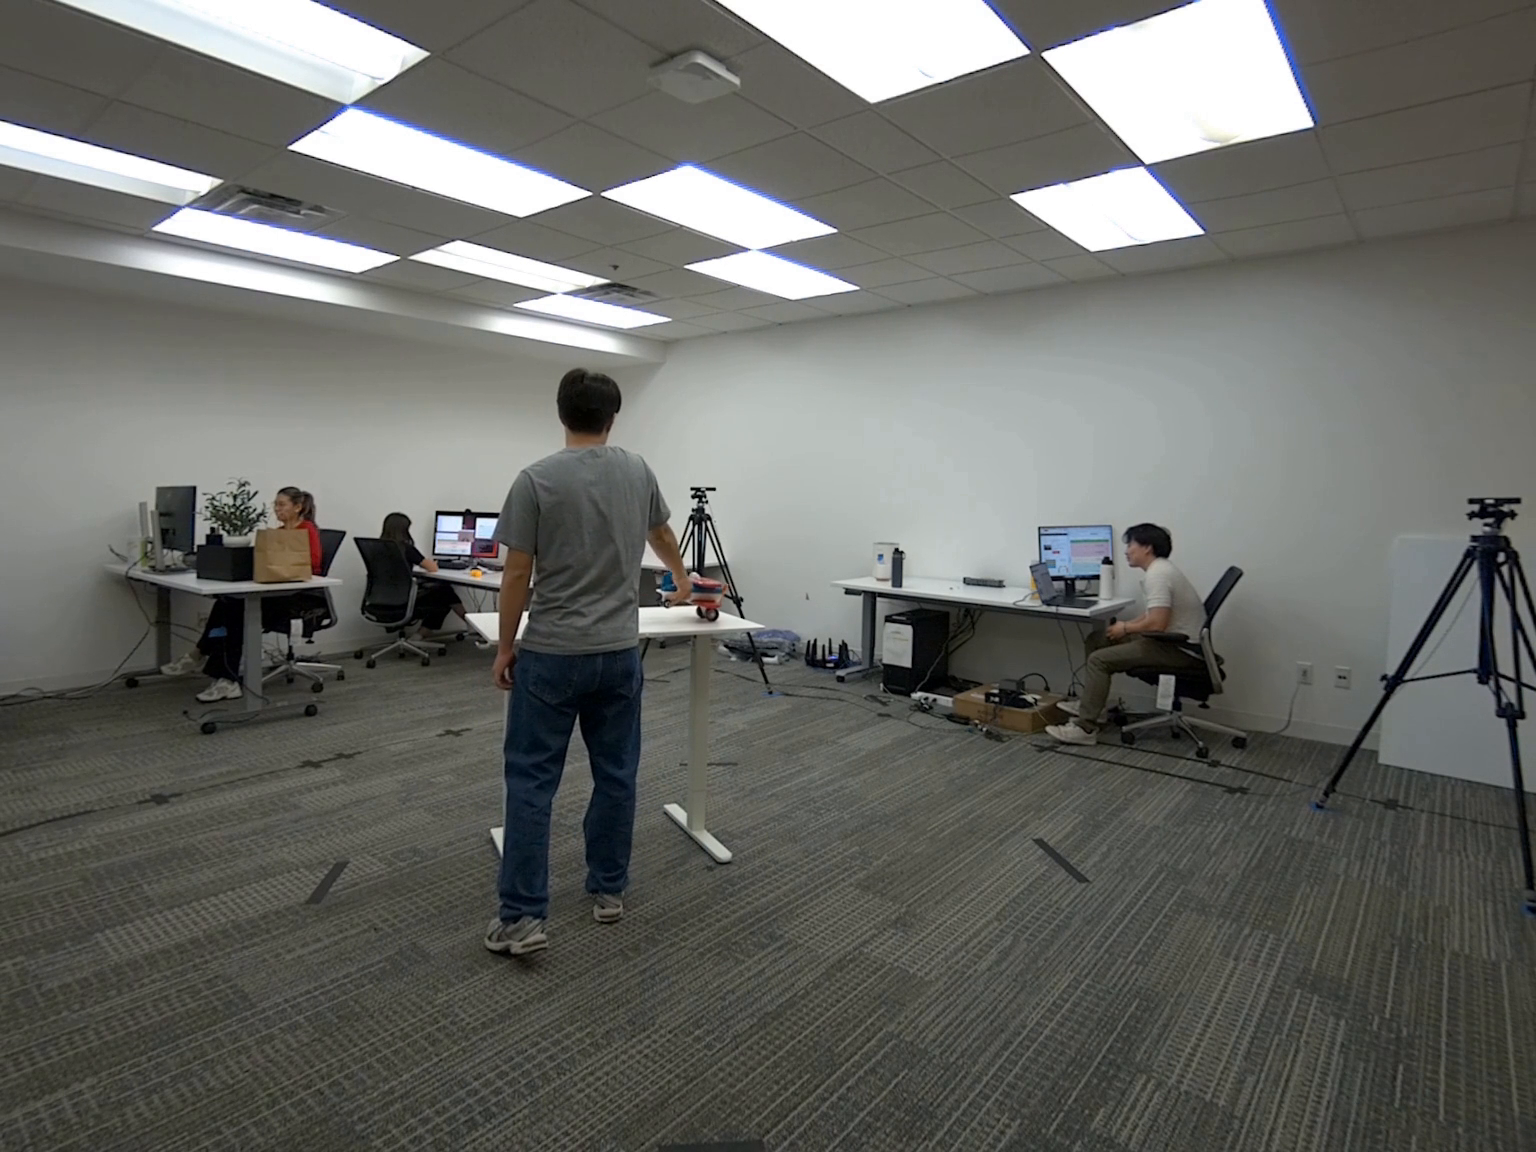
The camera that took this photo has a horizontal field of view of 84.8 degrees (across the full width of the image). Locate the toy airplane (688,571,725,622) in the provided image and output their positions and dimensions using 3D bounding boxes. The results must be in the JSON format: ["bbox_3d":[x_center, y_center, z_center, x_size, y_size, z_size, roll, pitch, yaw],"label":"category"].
[{"bbox_3d":[-0.296,0.069,3.257,0.260,0.157,0.249,14,-5,37],"label":"toy airplane"}]
